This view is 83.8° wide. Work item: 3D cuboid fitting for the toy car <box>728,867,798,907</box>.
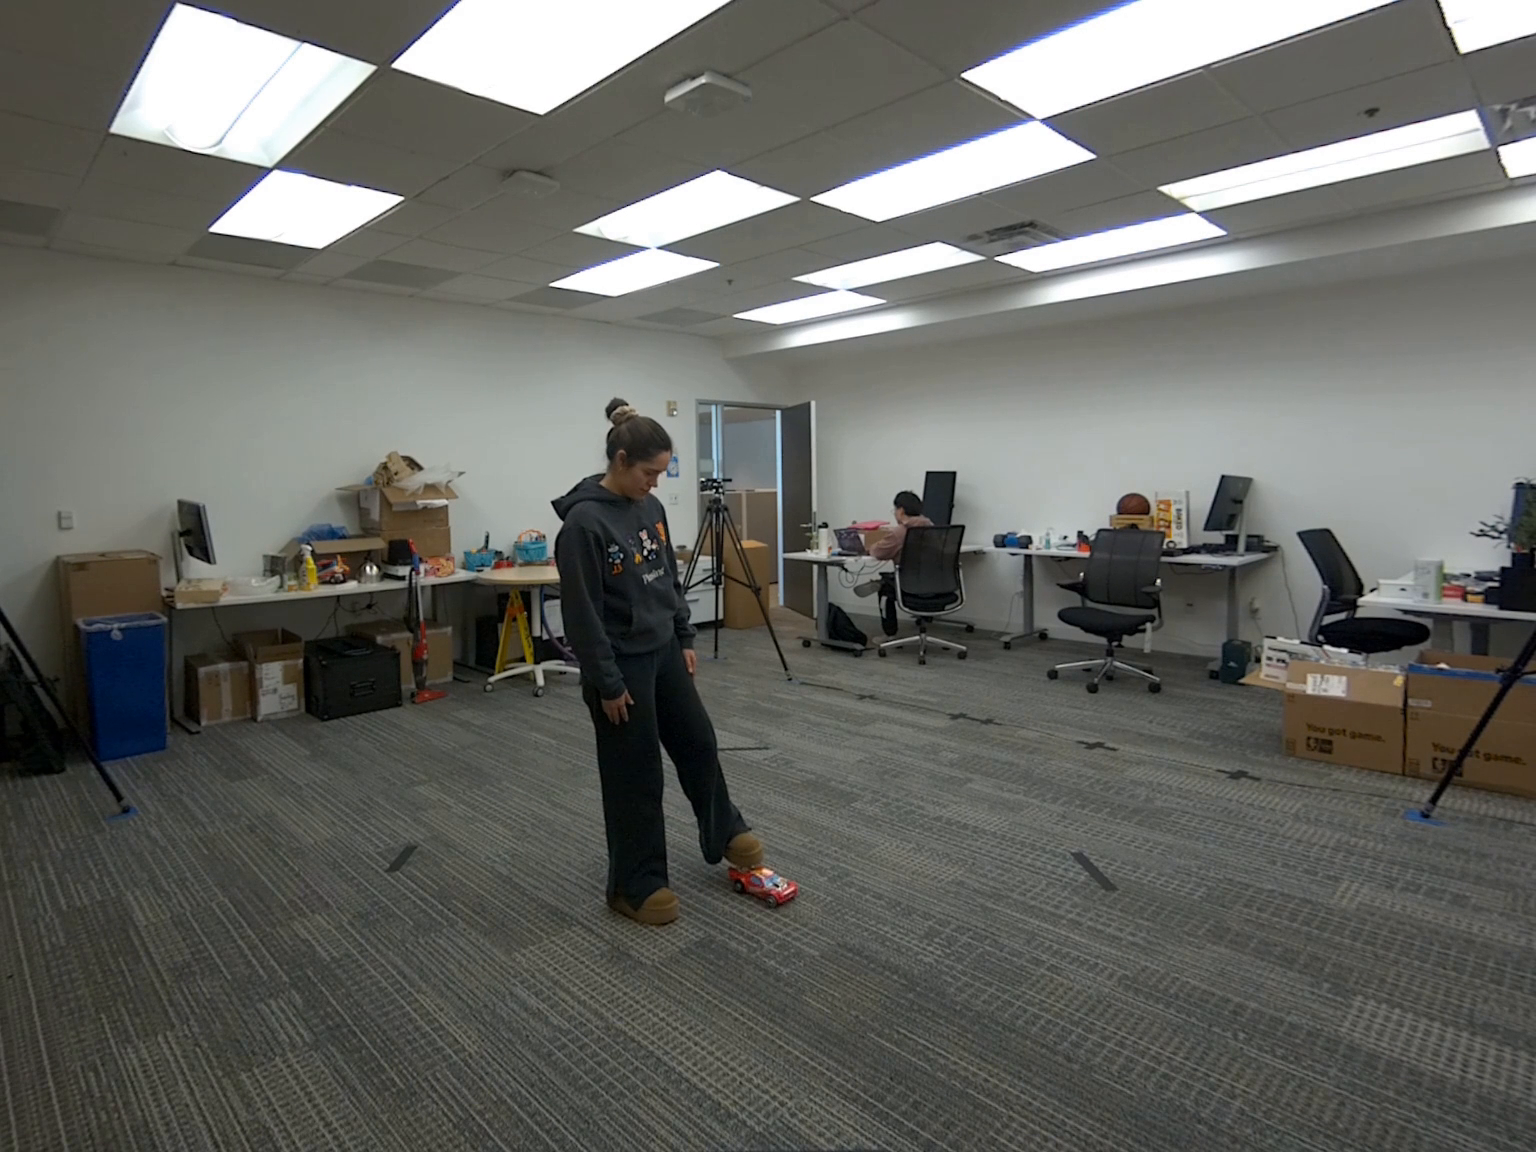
[{"bbox_3d":[-0.025,1.039,2.871,0.264,0.082,0.127,17,16,42],"label":"toy car"}]
